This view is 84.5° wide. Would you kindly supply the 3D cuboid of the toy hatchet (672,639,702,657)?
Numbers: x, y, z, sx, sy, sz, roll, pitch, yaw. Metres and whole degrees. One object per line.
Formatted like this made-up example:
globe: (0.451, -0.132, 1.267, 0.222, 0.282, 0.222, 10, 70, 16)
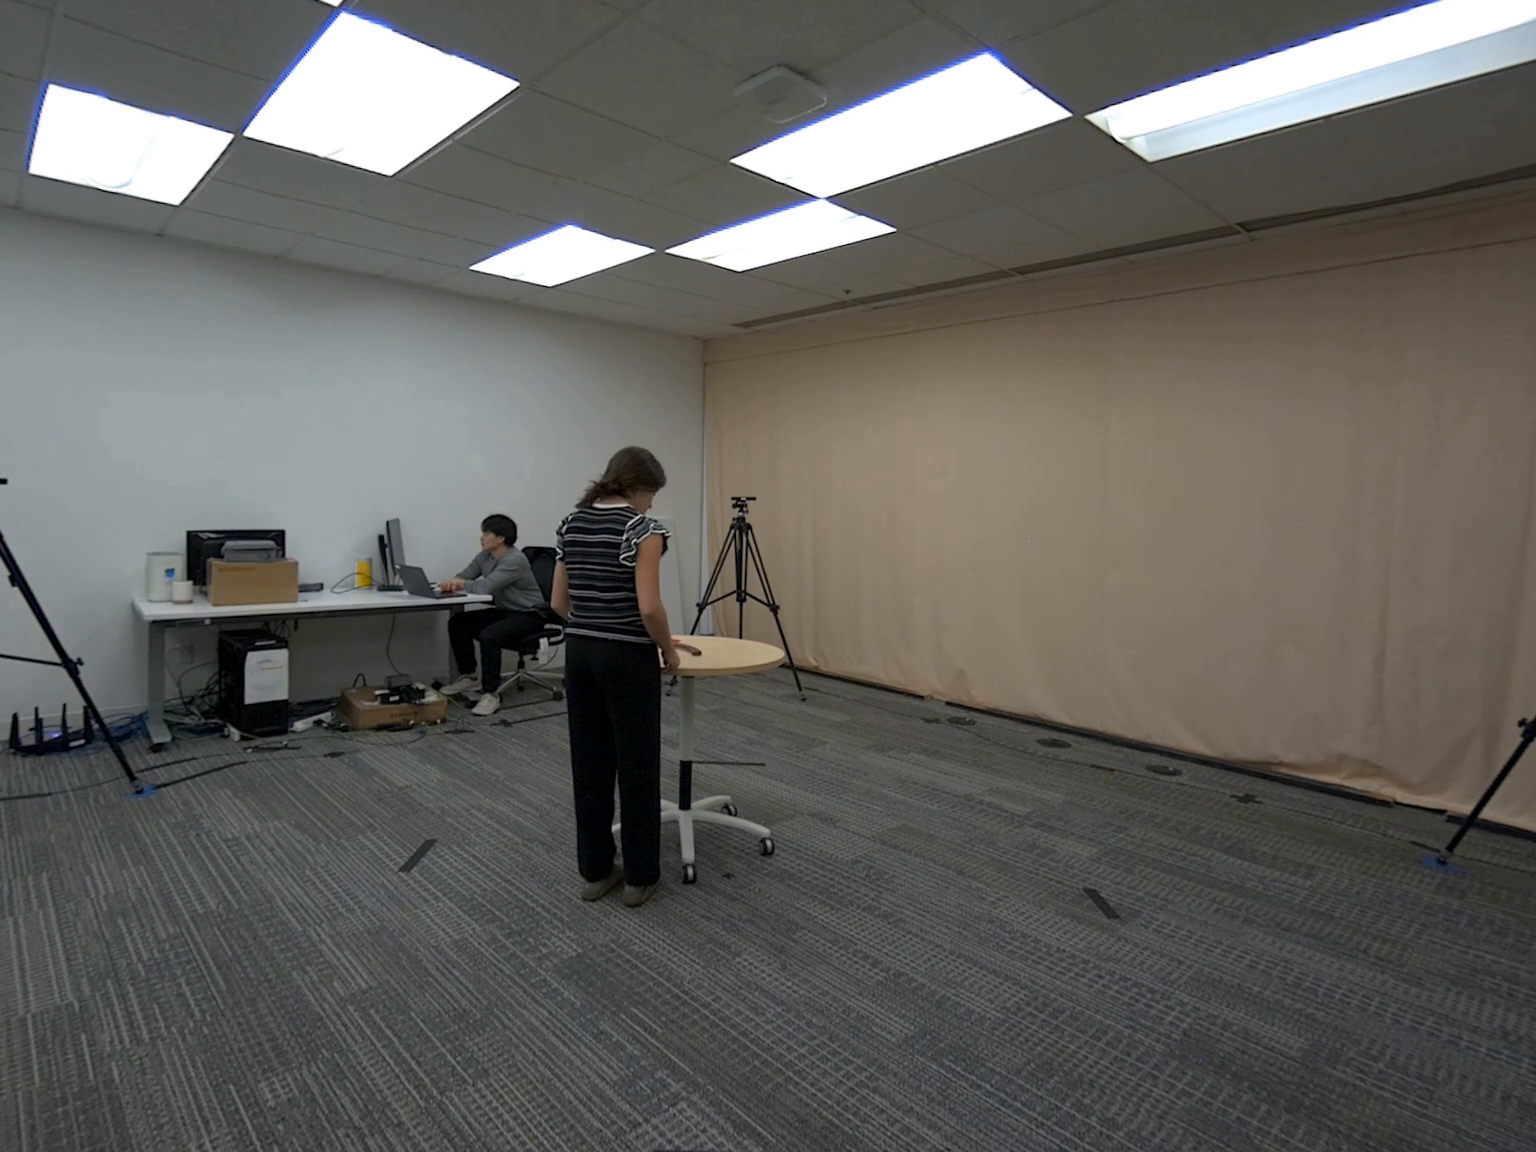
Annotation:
toy hatchet: (-0.378, 0.284, 3.345, 0.129, 0.029, 0.275, 0, 6, -23)
